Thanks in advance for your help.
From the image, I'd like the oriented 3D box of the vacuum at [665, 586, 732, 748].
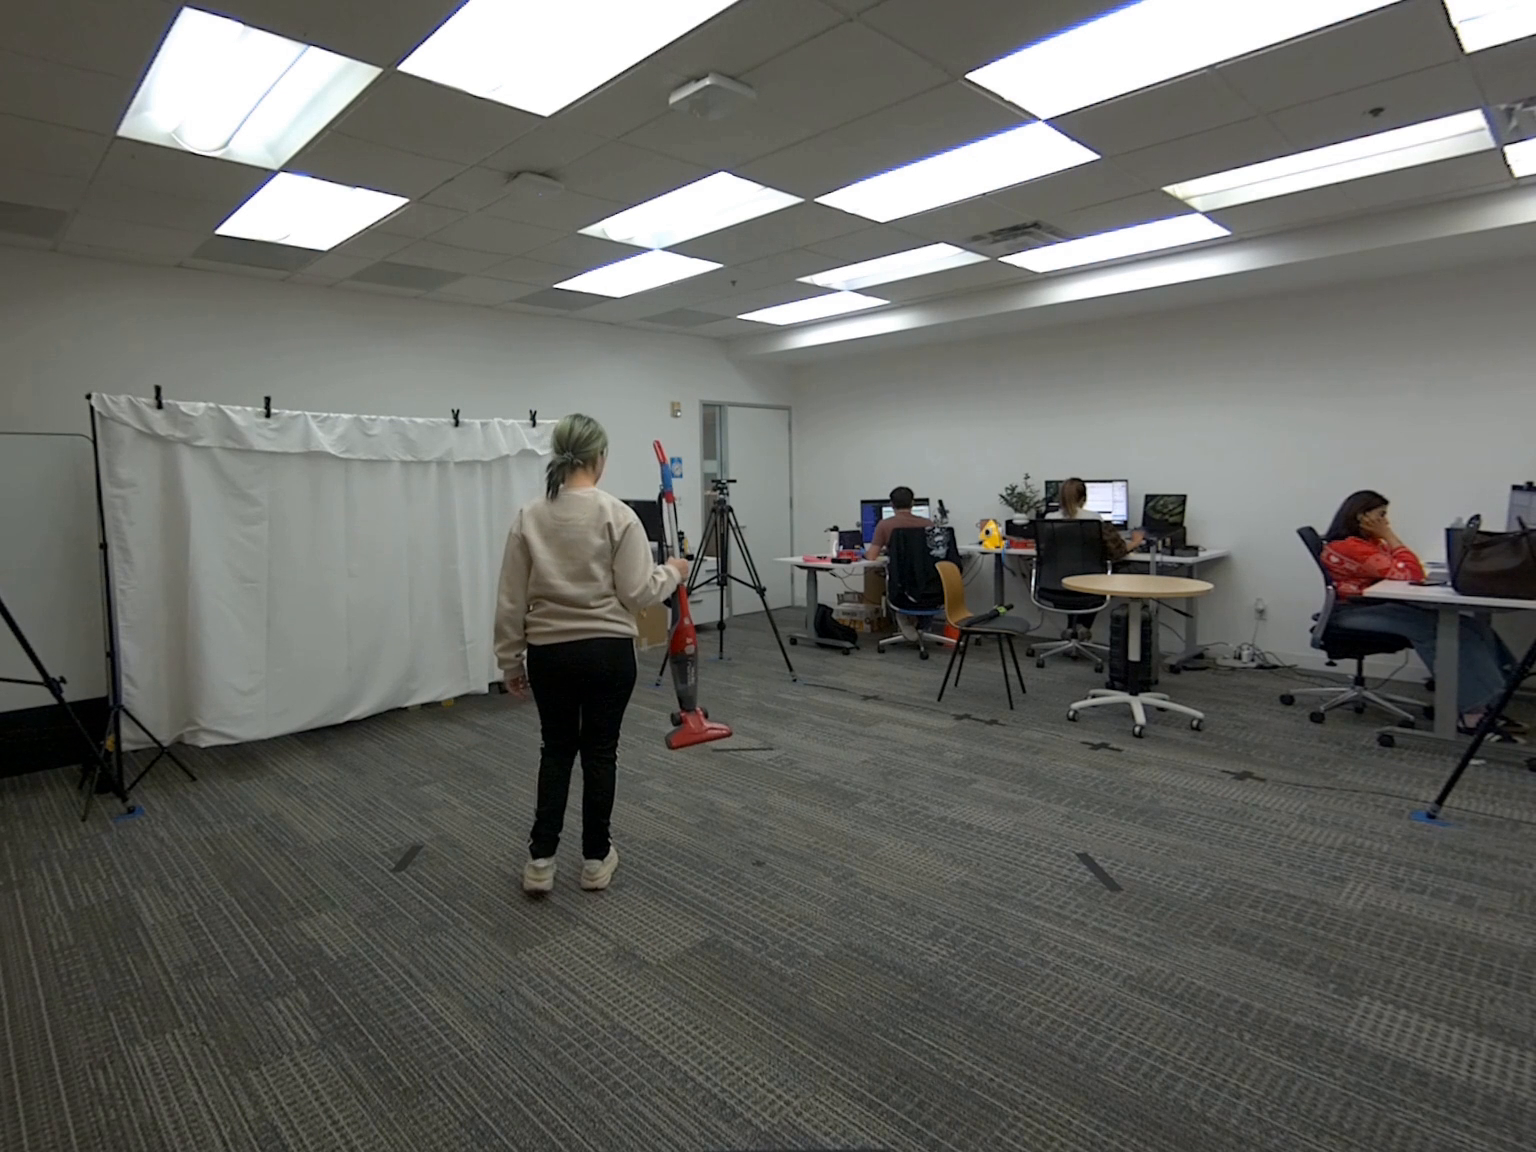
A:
[{"bbox_3d":[-0.339,0.037,3.135,0.246,1.053,0.147,-5,-4,-34],"label":"vacuum"}]
